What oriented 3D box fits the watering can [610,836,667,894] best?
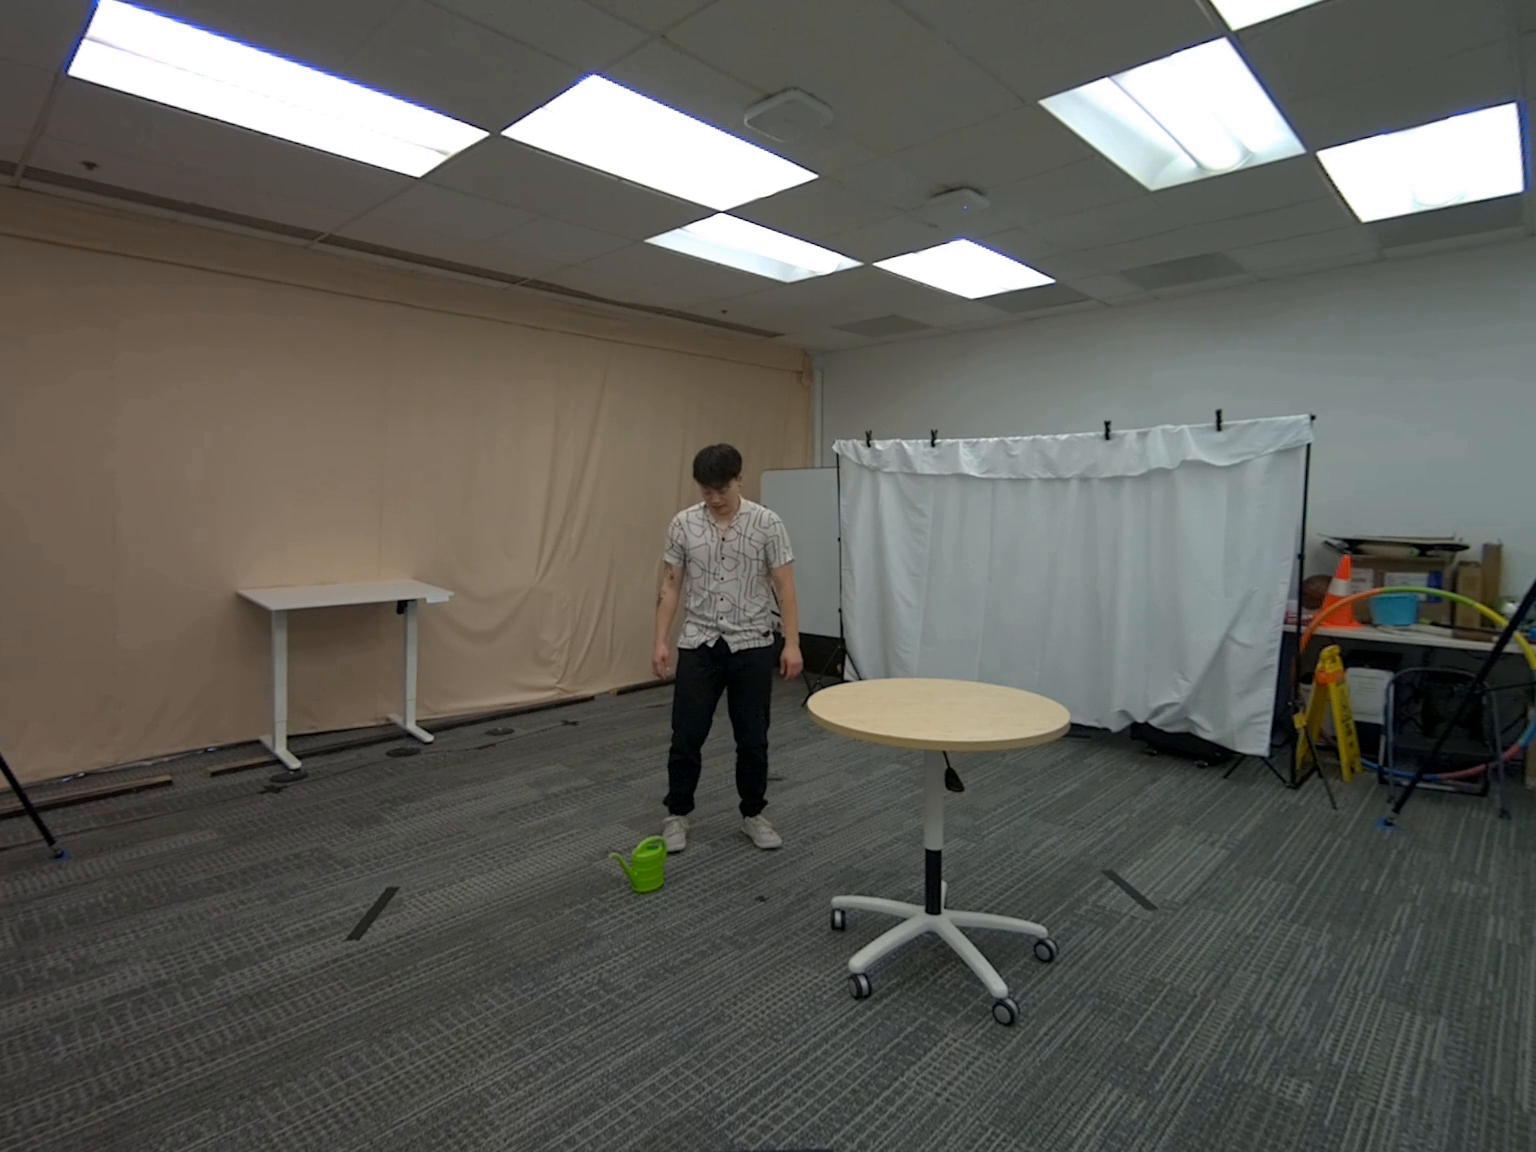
[{"bbox_3d":[-0.476,1.047,3.060,0.270,0.176,0.101,-3,3,-38],"label":"watering can"}]
